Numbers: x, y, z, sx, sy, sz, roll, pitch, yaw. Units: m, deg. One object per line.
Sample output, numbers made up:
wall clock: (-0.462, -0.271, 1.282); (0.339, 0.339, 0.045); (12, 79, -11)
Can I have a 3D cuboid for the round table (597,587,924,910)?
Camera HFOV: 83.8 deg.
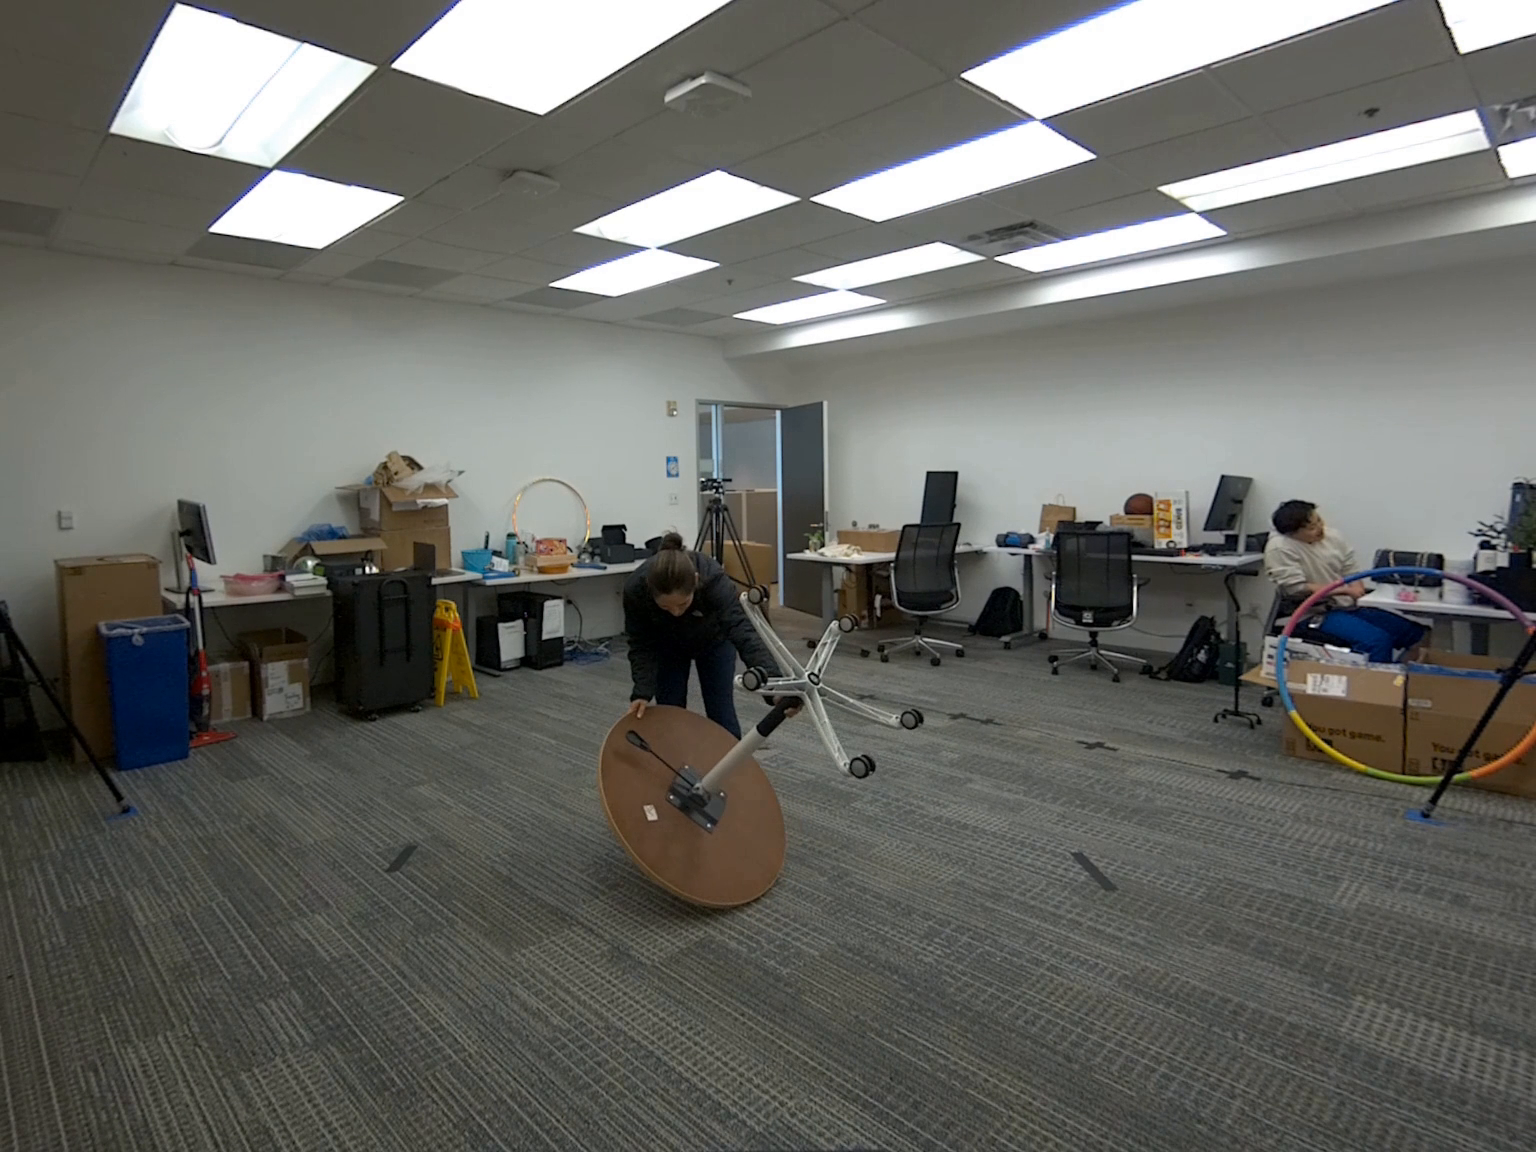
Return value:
round table: (-0.041, 0.521, 2.828); (0.766, 0.785, 0.806); (28, 31, -20)
